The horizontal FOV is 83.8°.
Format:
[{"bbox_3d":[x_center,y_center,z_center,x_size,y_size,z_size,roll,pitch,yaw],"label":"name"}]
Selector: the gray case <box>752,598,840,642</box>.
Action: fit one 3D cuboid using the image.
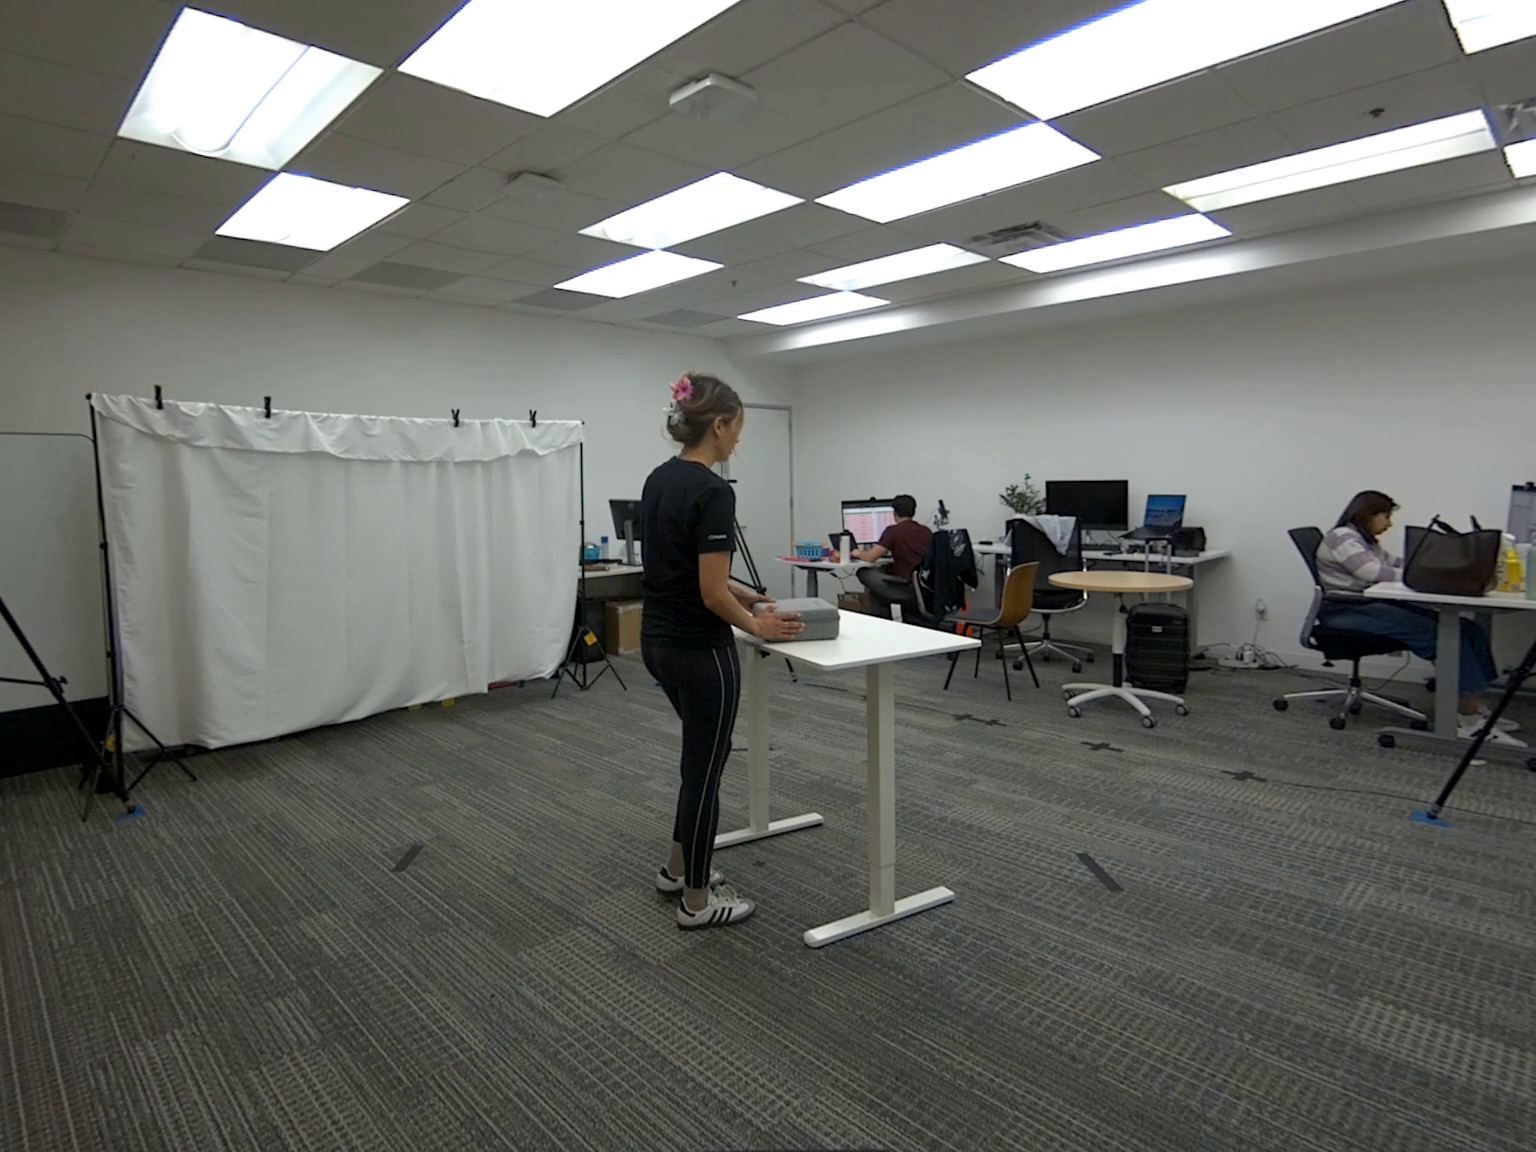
[{"bbox_3d":[0.093,0.145,2.818,0.259,0.104,0.260,-3,7,-8],"label":"gray case"}]
